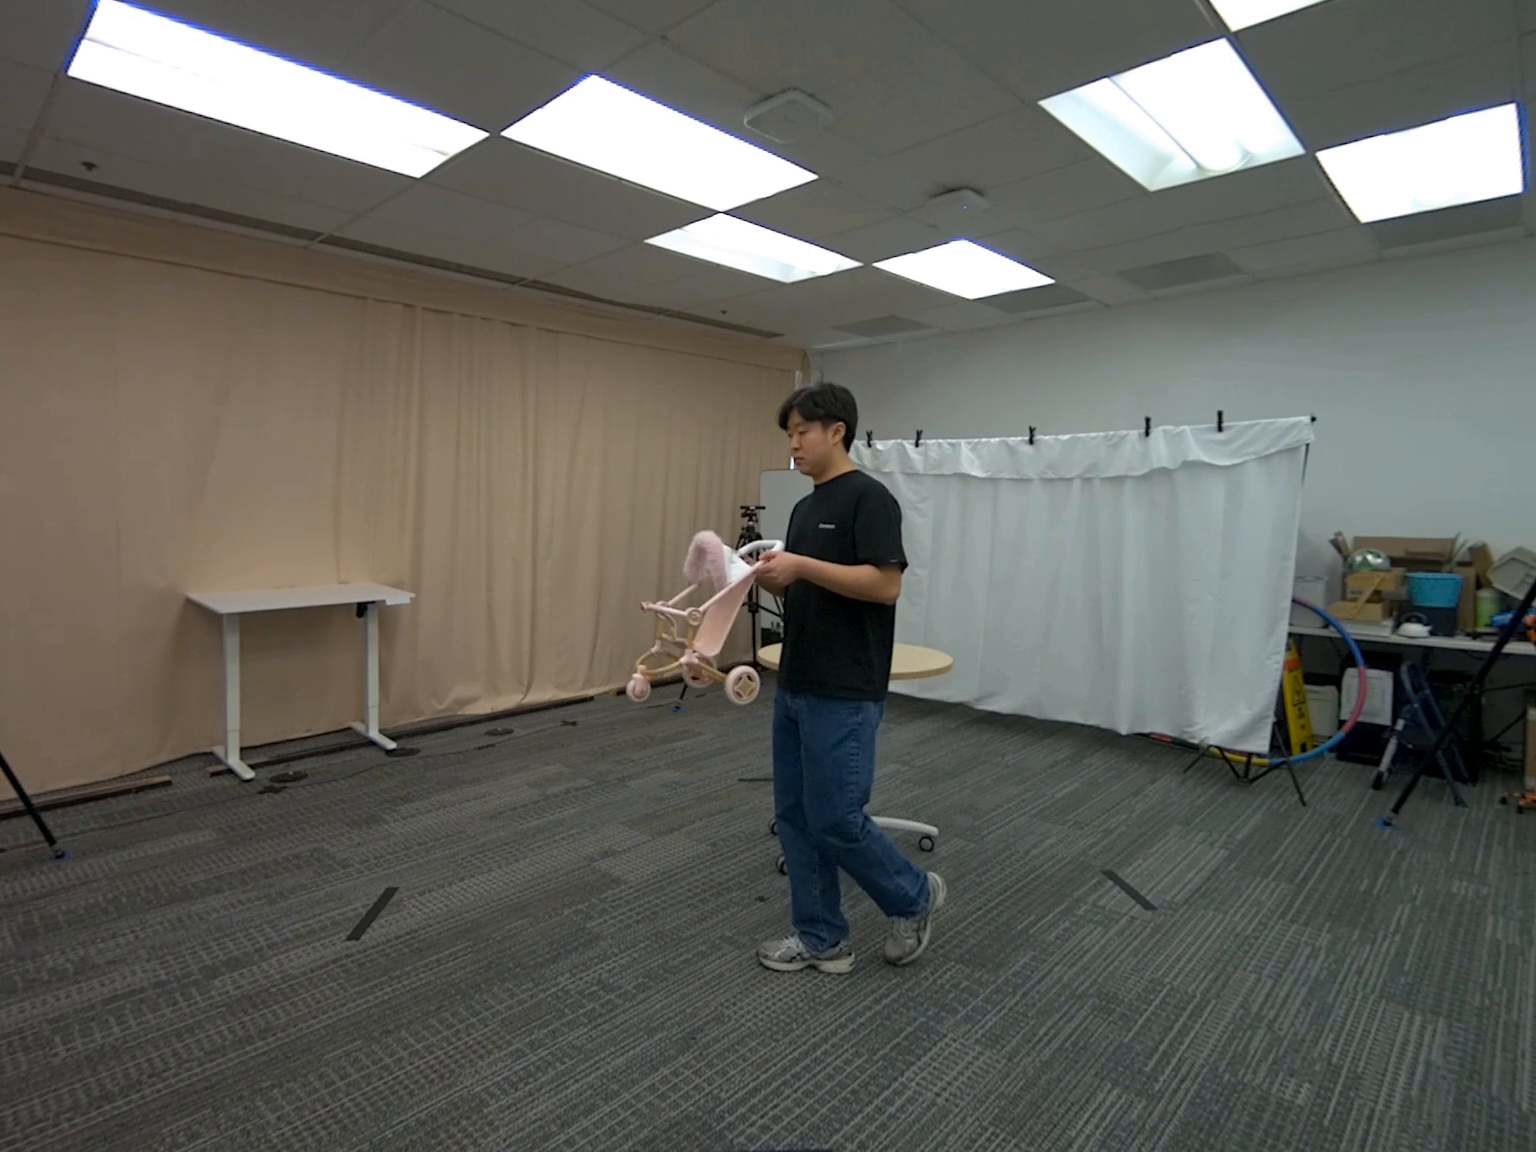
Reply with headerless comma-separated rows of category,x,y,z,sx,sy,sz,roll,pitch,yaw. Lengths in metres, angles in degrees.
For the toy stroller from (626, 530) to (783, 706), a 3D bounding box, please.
toy stroller,-0.185,0.120,2.367,0.332,0.536,0.289,16,-5,-25
